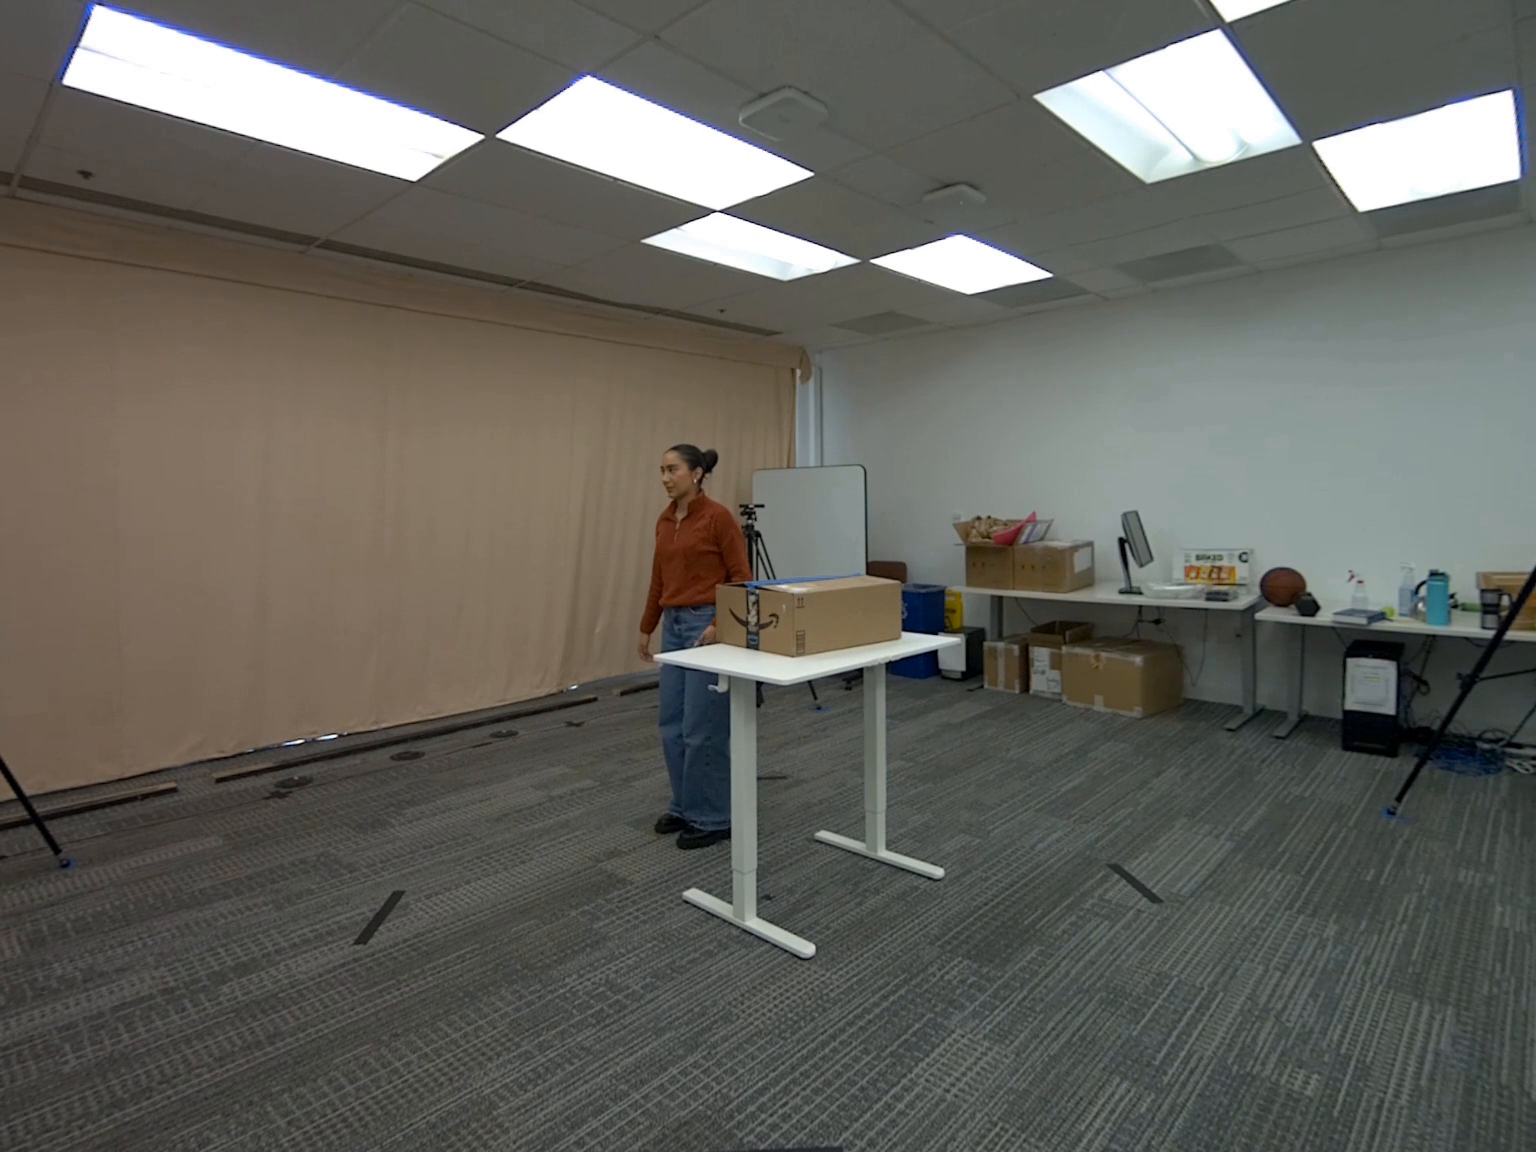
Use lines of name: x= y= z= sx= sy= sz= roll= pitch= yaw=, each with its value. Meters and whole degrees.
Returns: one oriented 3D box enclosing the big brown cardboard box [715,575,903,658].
big brown cardboard box: x=0.154 y=0.133 z=3.124 sx=0.571 sy=0.232 sz=0.431 roll=-3 pitch=5 yaw=-40
